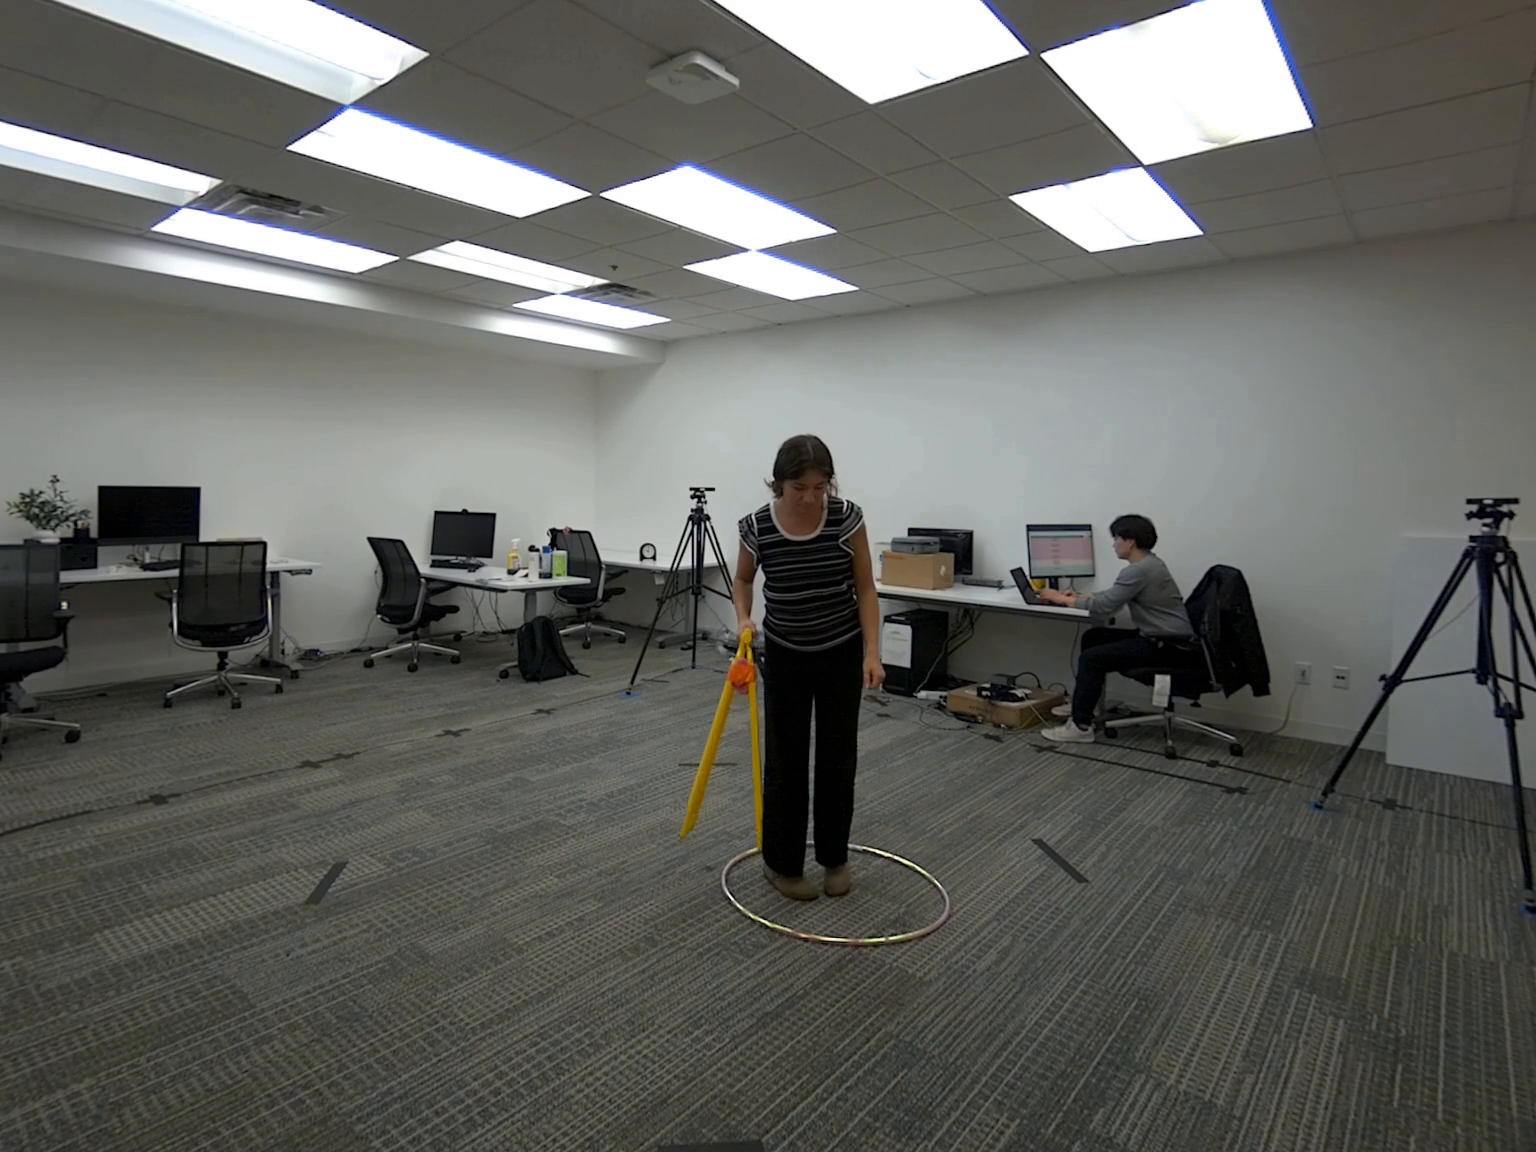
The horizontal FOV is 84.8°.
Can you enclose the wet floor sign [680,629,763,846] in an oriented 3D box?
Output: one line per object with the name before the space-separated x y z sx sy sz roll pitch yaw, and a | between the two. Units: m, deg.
wet floor sign | -0.094 0.501 2.708 0.291 0.651 0.279 6 -8 2
